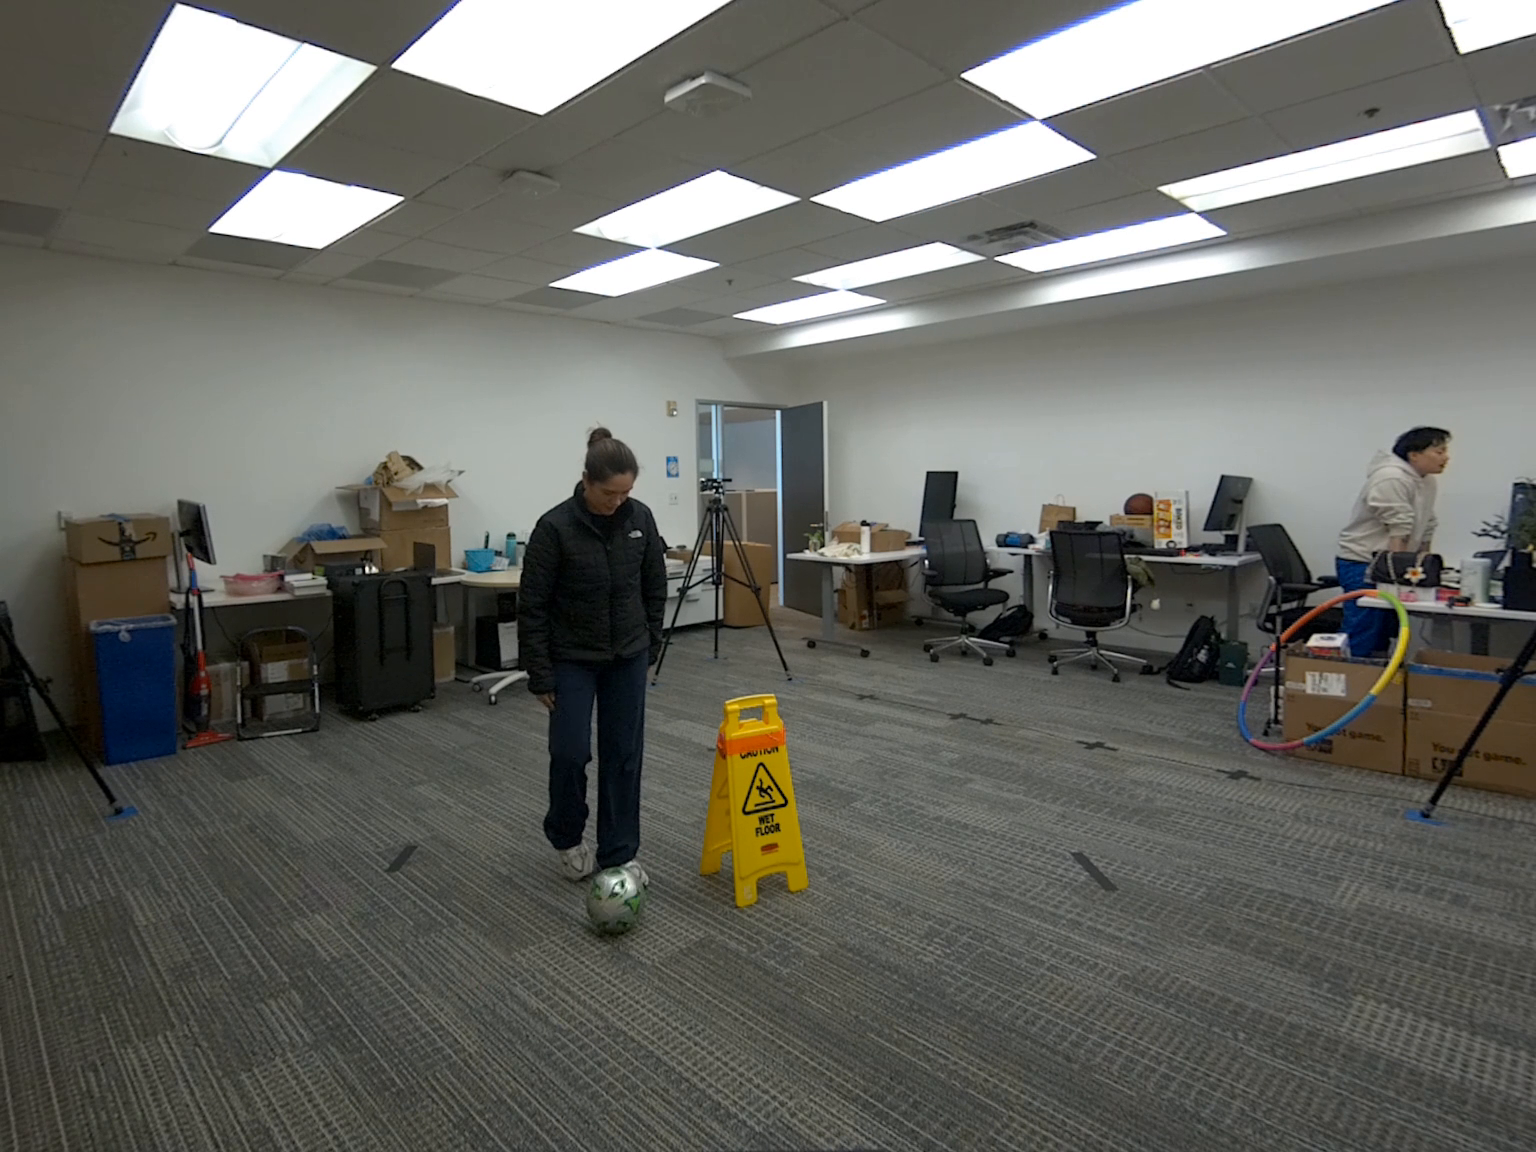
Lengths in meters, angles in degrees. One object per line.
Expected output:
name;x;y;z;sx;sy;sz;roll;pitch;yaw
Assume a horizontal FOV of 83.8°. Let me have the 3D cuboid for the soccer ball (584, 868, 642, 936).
soccer ball;-0.474;1.004;2.667;0.187;0.187;0.188;-1;5;-2
